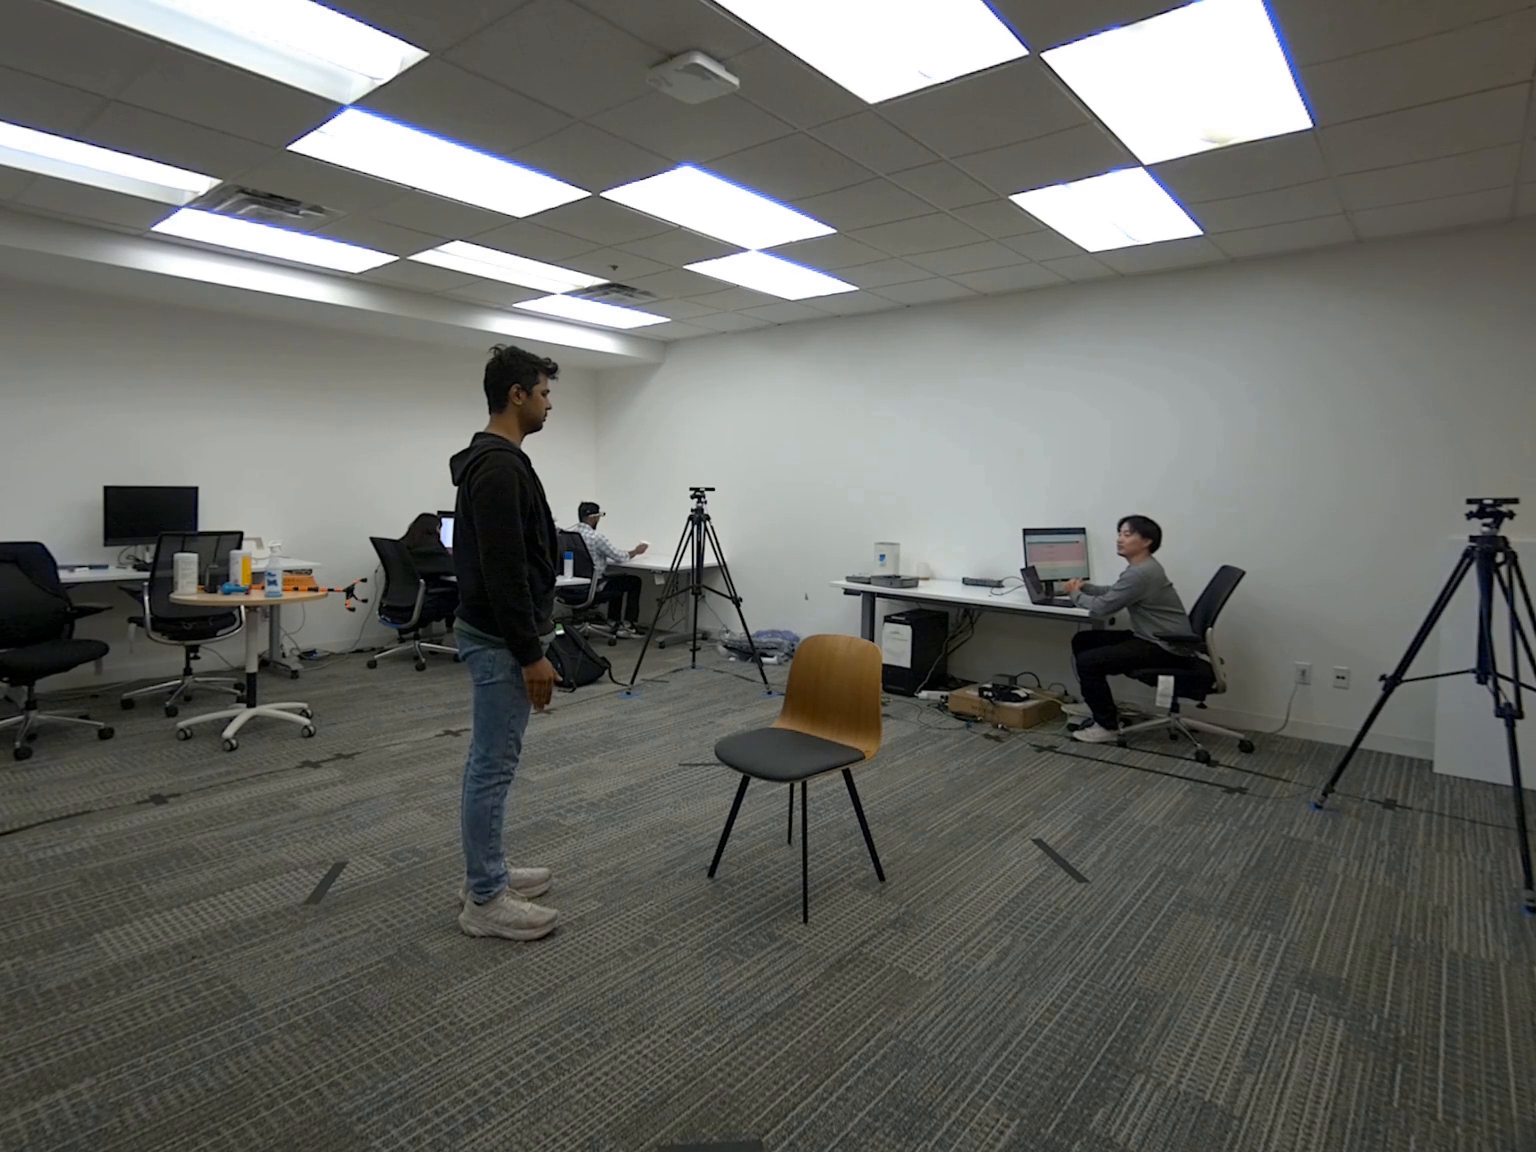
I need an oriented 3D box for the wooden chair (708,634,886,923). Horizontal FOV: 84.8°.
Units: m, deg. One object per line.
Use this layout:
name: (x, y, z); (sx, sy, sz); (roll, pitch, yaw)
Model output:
wooden chair: (0.092, 0.653, 3.009); (0.494, 0.877, 0.505); (5, 1, 42)
